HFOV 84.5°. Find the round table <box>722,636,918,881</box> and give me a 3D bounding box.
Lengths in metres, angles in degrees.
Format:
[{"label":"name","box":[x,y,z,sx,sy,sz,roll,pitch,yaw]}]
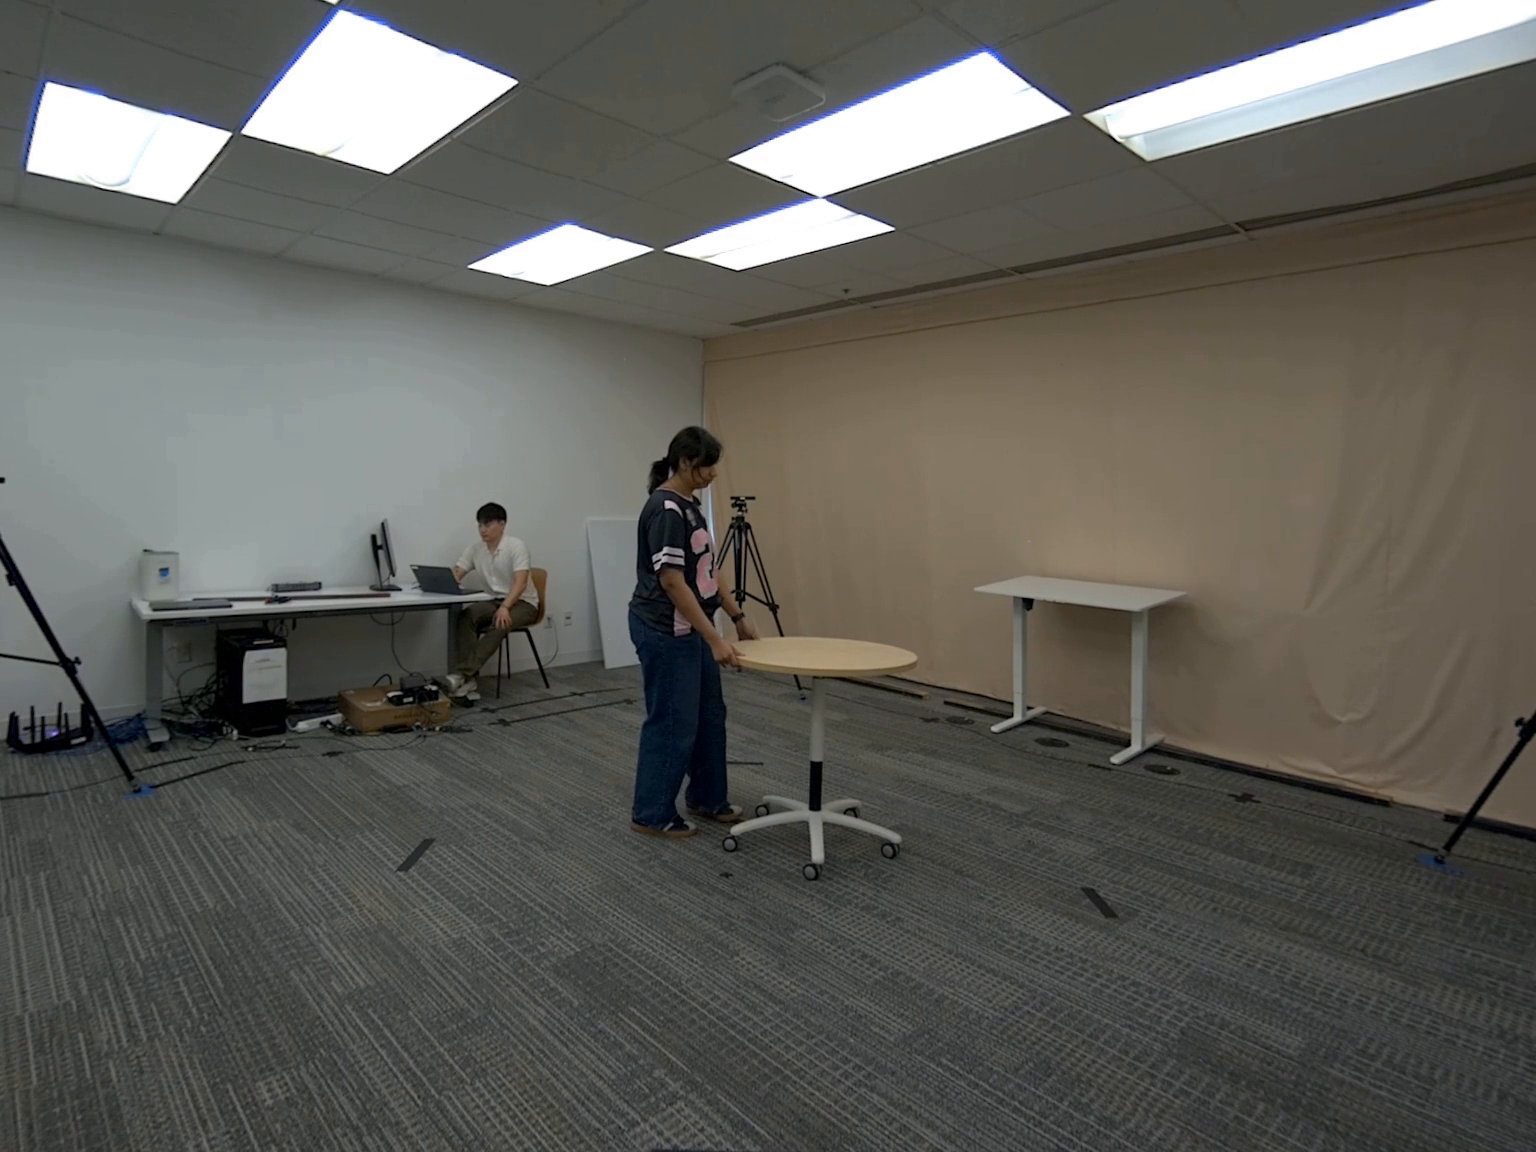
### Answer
[{"label":"round table","box":[0.189,0.697,3.393,0.763,0.792,0.766,1,3,-1]}]
